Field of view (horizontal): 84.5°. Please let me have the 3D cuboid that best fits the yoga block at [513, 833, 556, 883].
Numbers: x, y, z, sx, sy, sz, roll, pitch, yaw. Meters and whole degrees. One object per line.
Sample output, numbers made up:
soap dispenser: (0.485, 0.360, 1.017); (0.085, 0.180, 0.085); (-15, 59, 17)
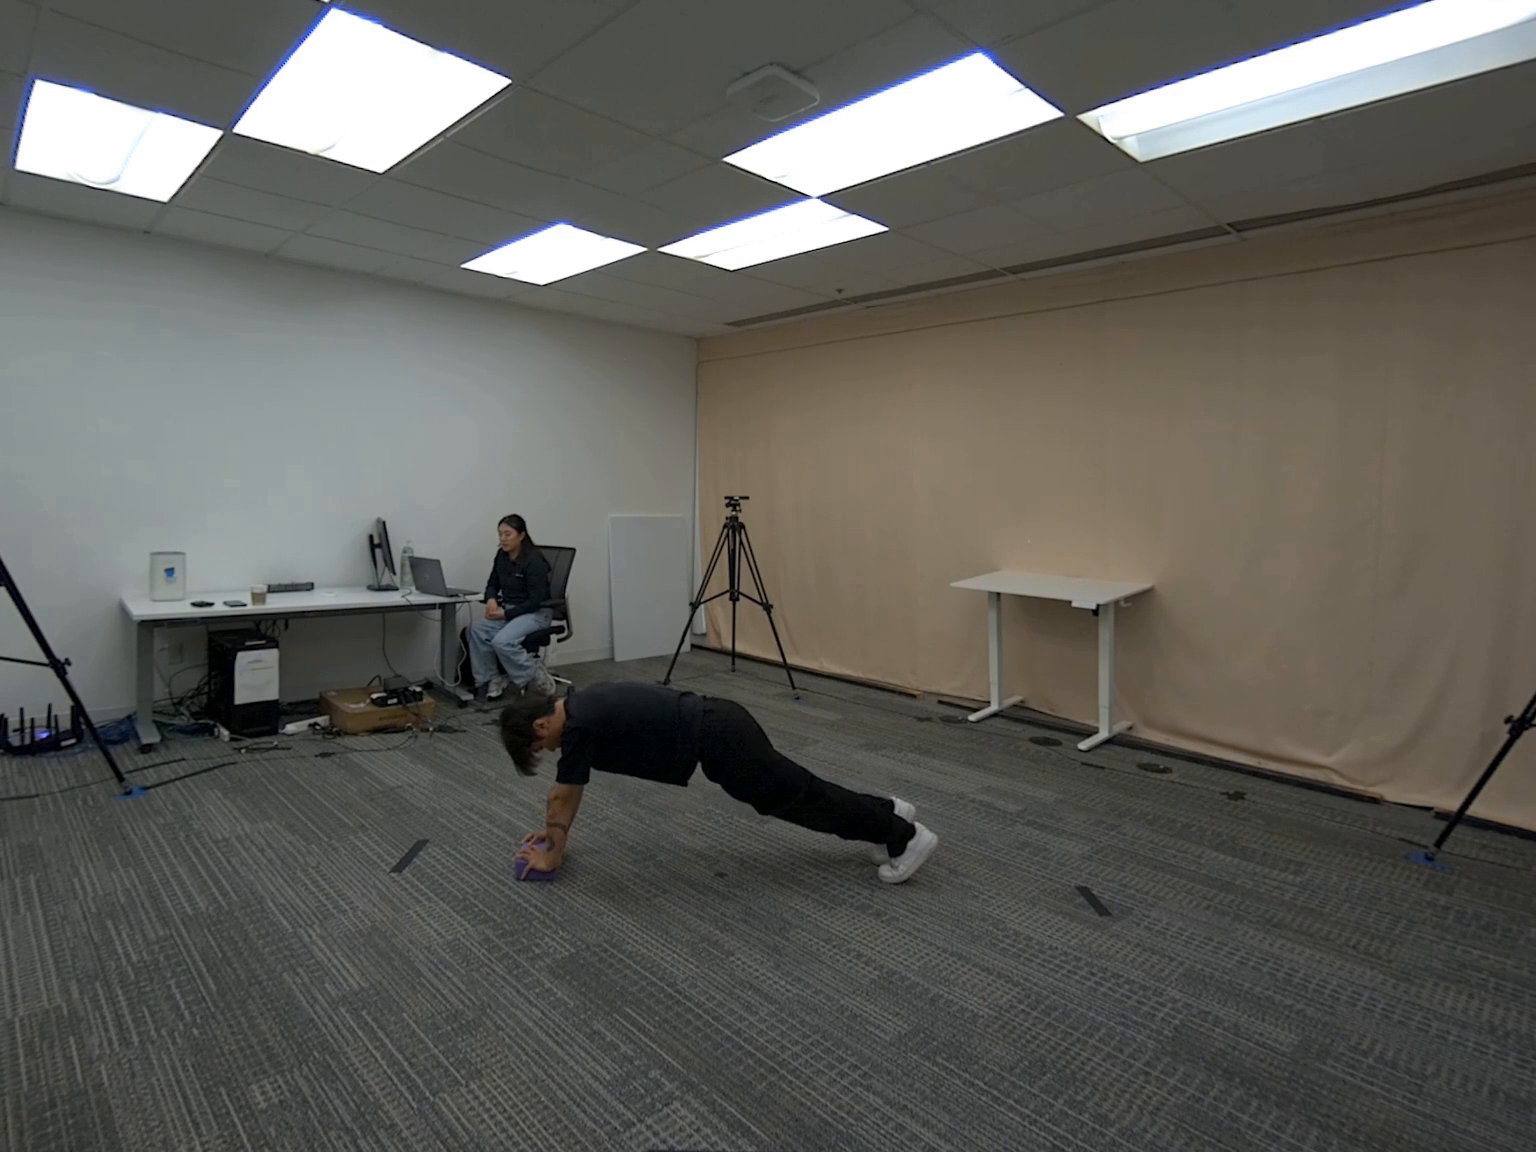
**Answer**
yoga block: (-0.850, 1.047, 3.138); (0.148, 0.076, 0.231); (-1, 5, -7)
